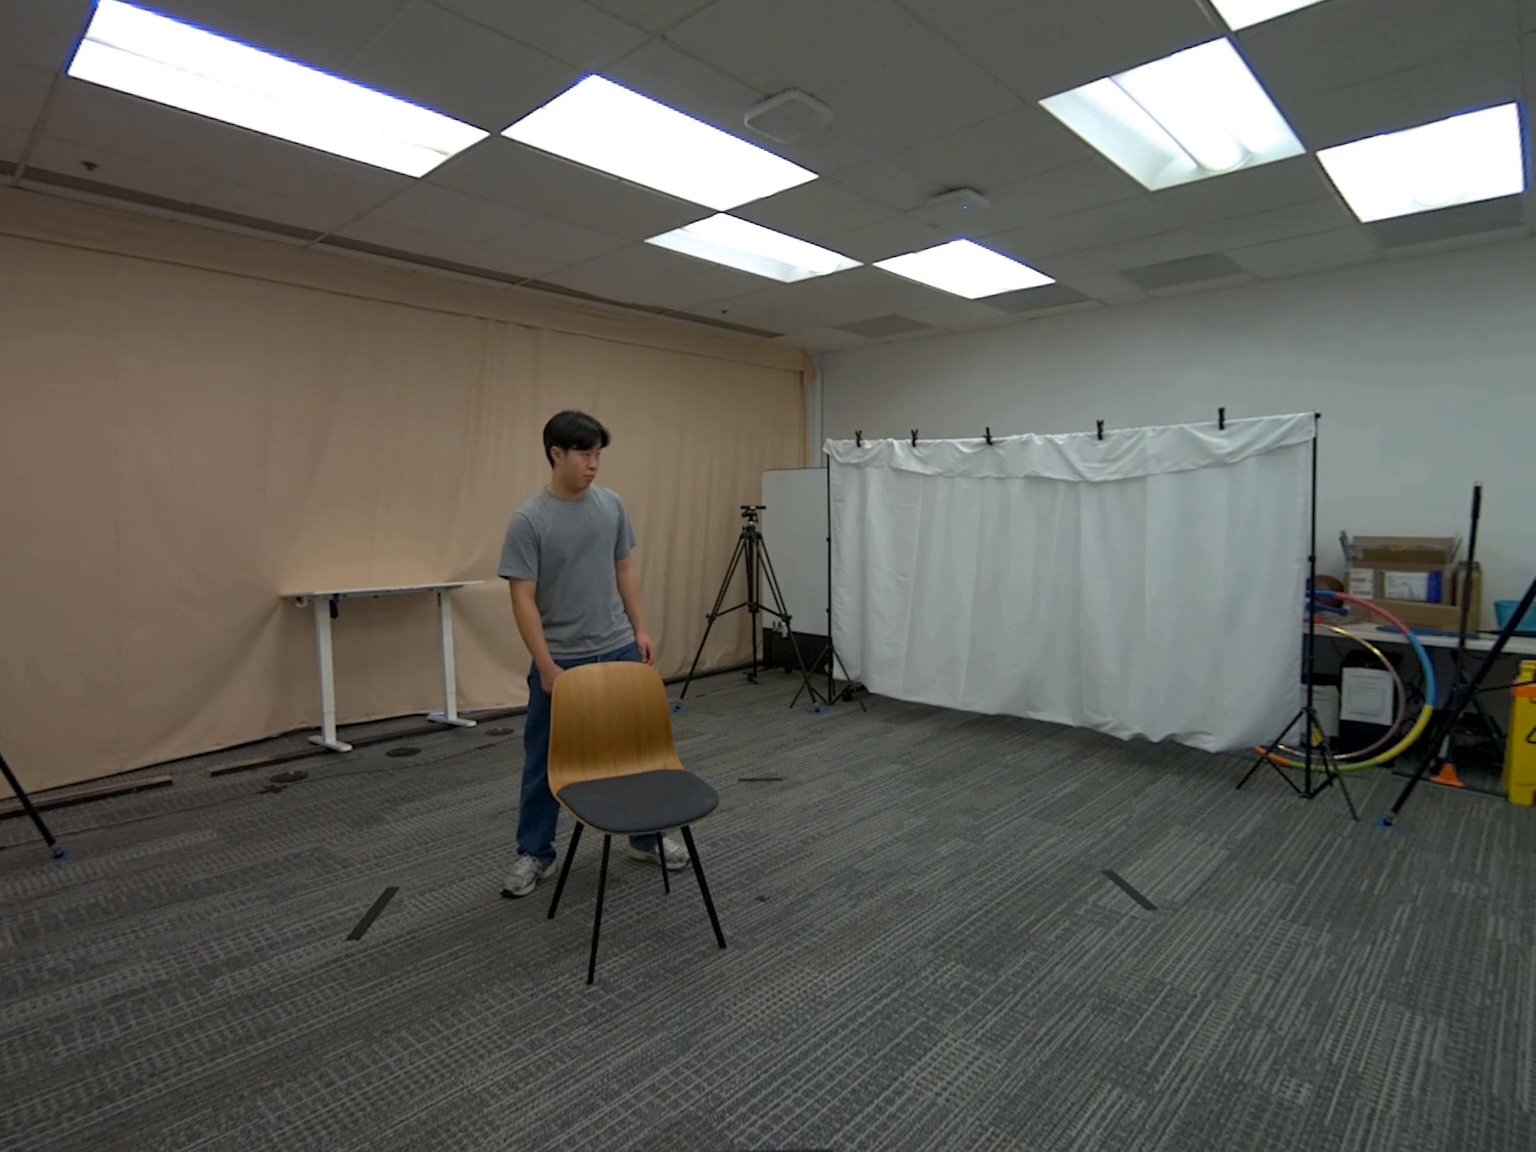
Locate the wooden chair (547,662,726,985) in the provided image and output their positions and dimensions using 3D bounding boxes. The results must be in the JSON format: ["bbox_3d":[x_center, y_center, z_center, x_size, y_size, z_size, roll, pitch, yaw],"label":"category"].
[{"bbox_3d":[-0.433,0.741,2.713,0.466,0.878,0.536,-2,-1,-28],"label":"wooden chair"}]
